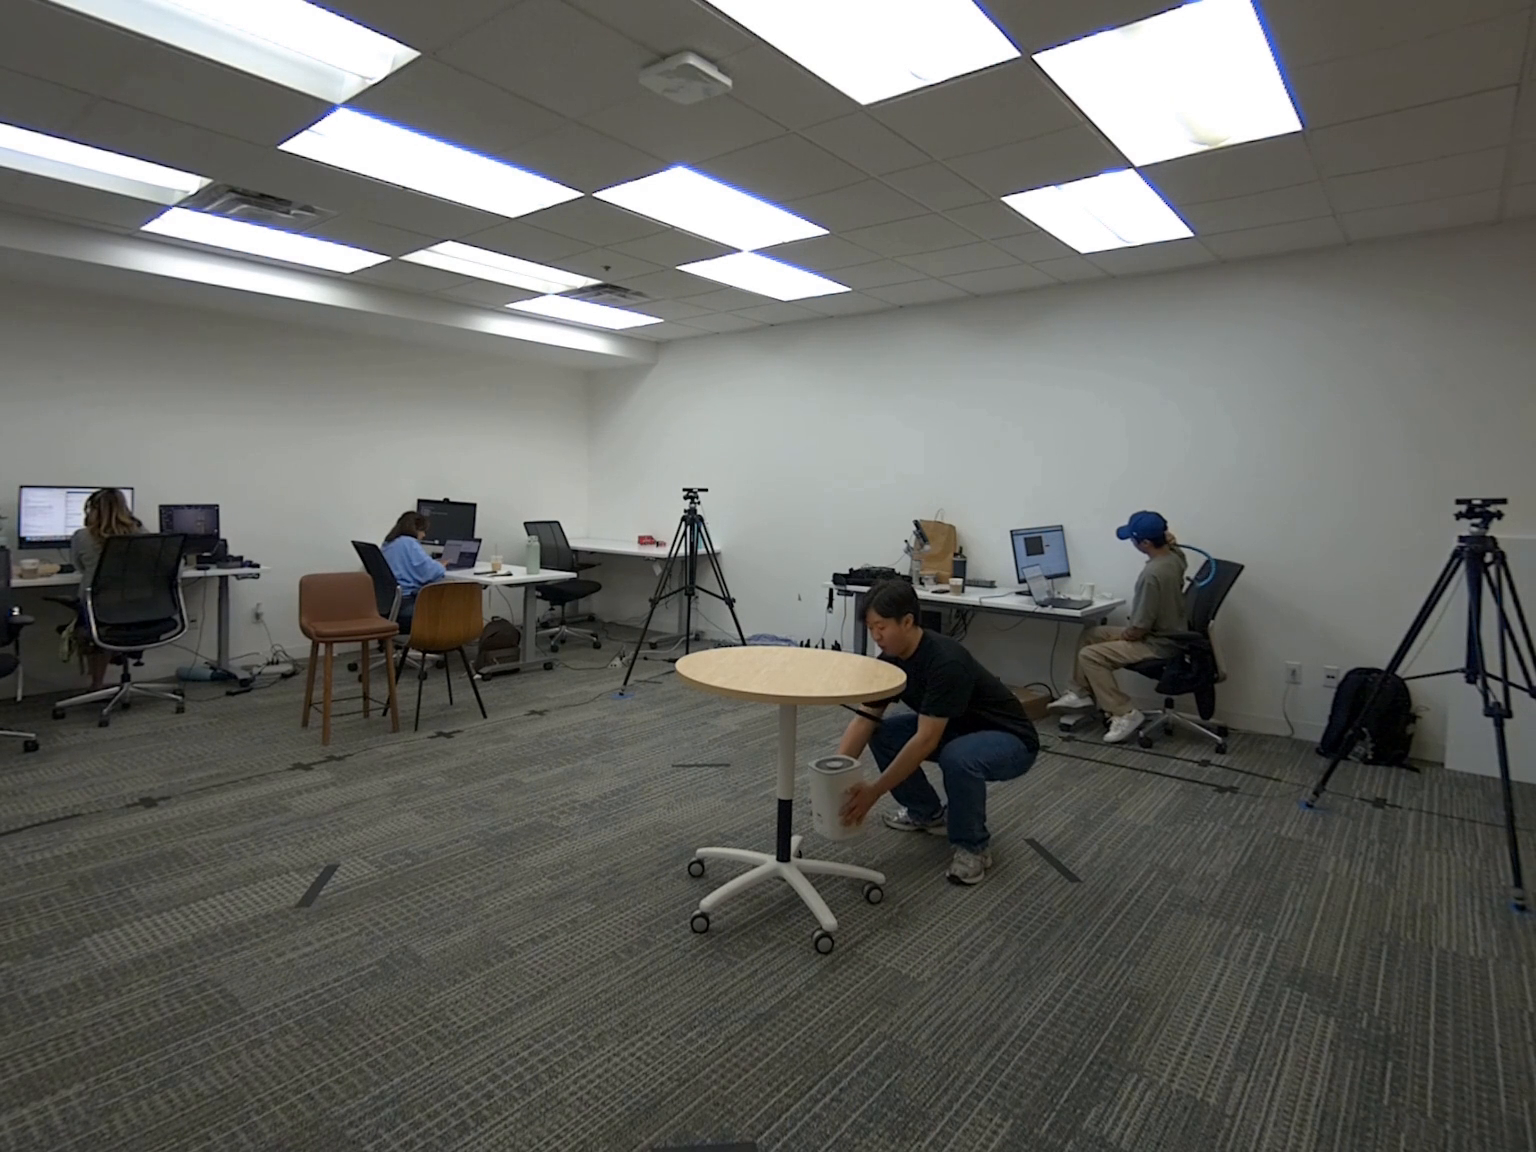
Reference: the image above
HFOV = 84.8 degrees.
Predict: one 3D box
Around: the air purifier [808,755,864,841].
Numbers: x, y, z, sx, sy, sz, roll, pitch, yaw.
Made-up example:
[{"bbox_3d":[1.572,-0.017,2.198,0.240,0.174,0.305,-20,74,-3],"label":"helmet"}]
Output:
[{"bbox_3d":[0.253,0.810,3.122,0.167,0.264,0.176,-7,5,-31],"label":"air purifier"}]
